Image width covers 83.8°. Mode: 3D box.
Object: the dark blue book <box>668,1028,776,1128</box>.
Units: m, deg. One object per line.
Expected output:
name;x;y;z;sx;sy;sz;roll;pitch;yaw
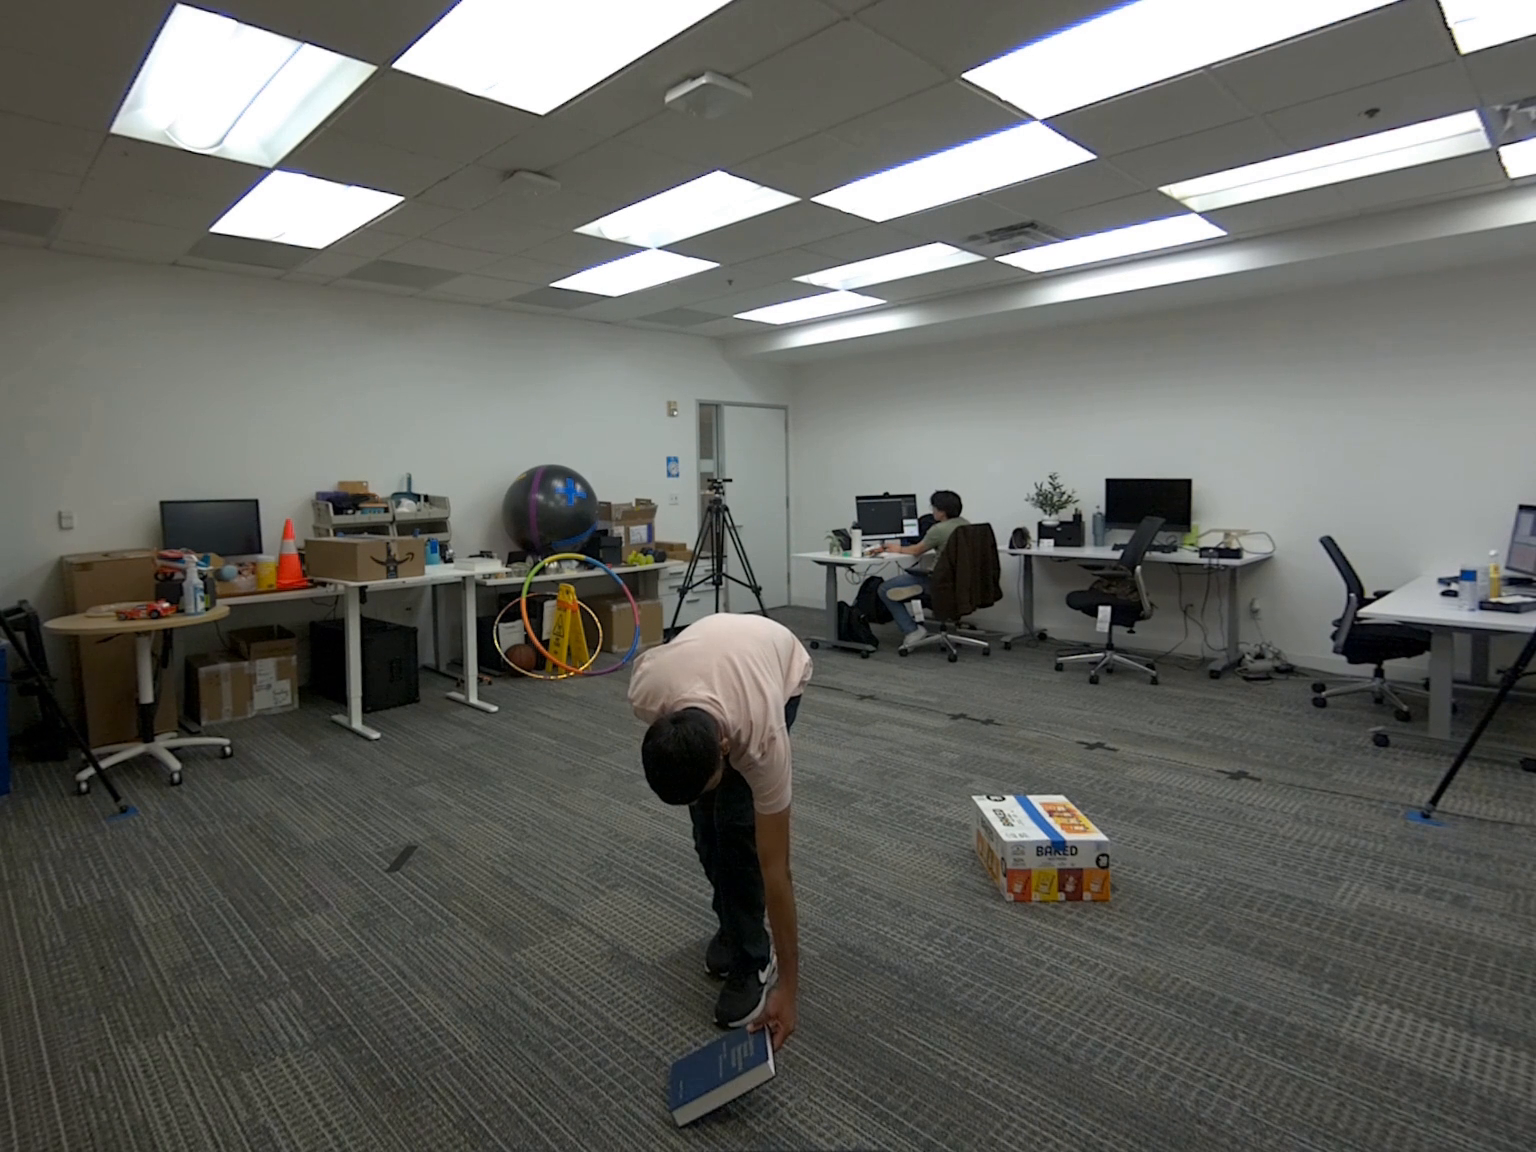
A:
dark blue book;-0.096;1.115;1.918;0.245;0.045;0.165;-27;8;-2
